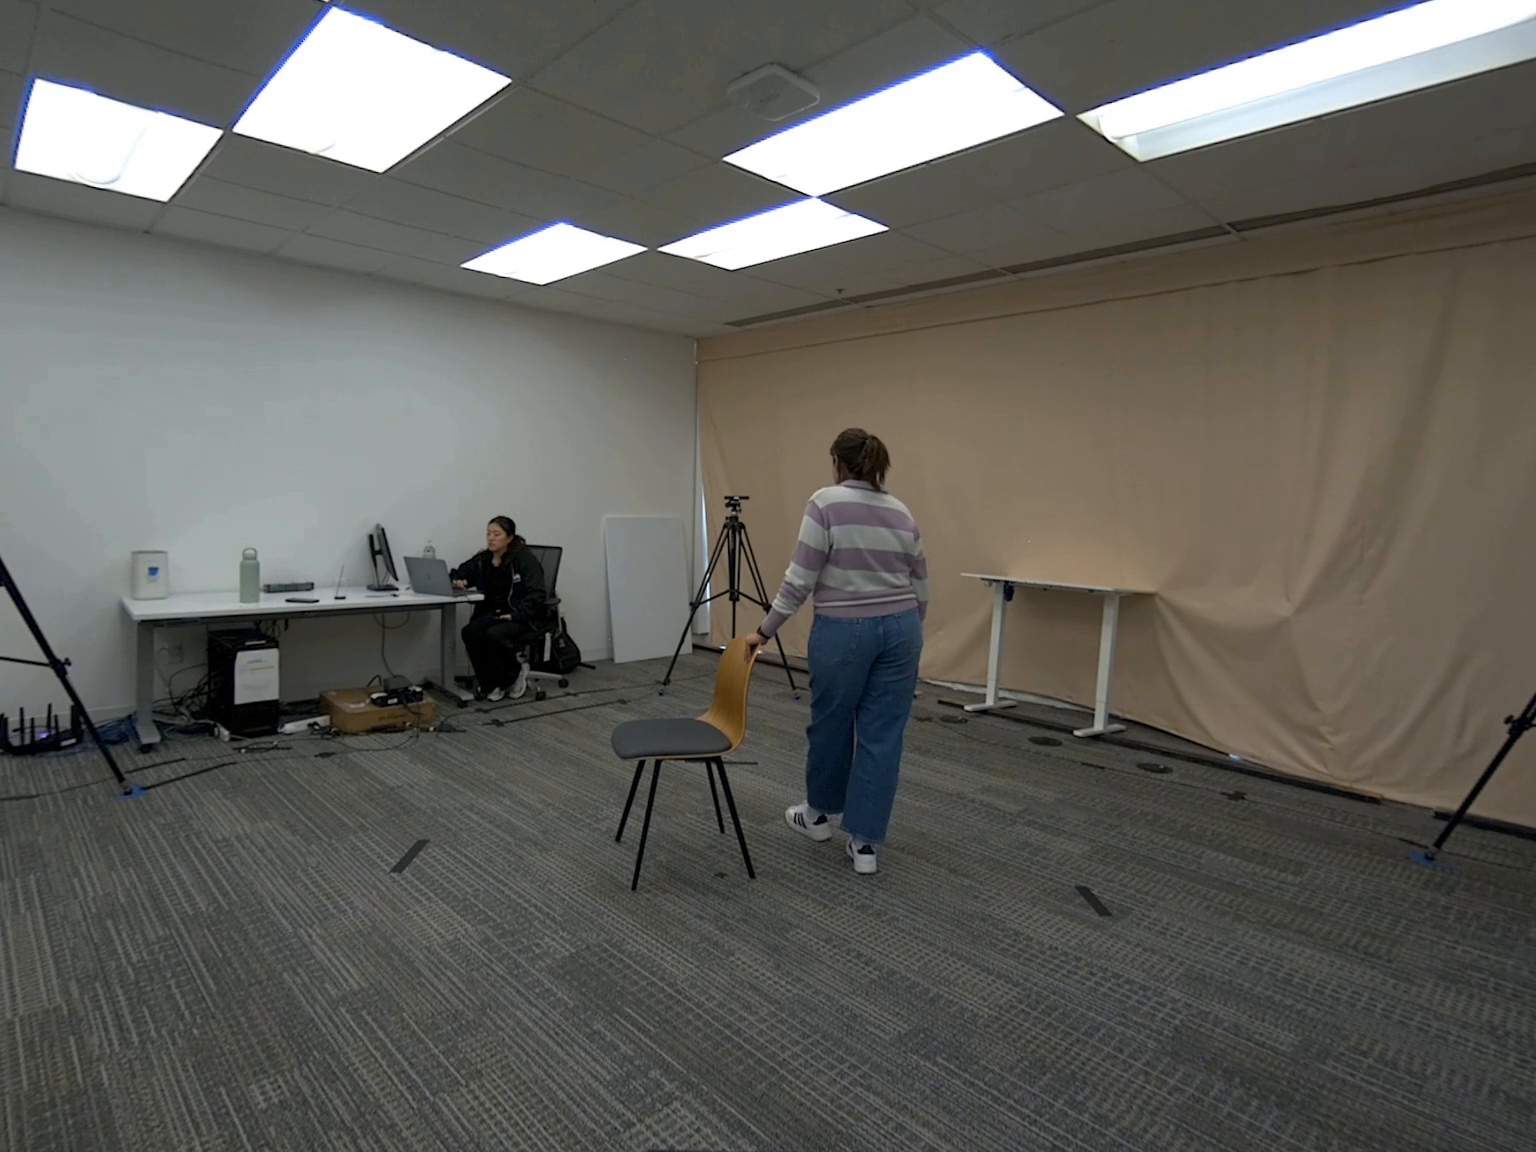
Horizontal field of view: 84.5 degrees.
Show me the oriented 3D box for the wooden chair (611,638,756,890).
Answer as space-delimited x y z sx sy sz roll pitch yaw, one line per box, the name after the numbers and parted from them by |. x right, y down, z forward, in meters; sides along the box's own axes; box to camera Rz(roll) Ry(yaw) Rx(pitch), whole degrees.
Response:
-0.333 0.662 3.195 0.516 0.876 0.485 5 2 -17 | wooden chair
